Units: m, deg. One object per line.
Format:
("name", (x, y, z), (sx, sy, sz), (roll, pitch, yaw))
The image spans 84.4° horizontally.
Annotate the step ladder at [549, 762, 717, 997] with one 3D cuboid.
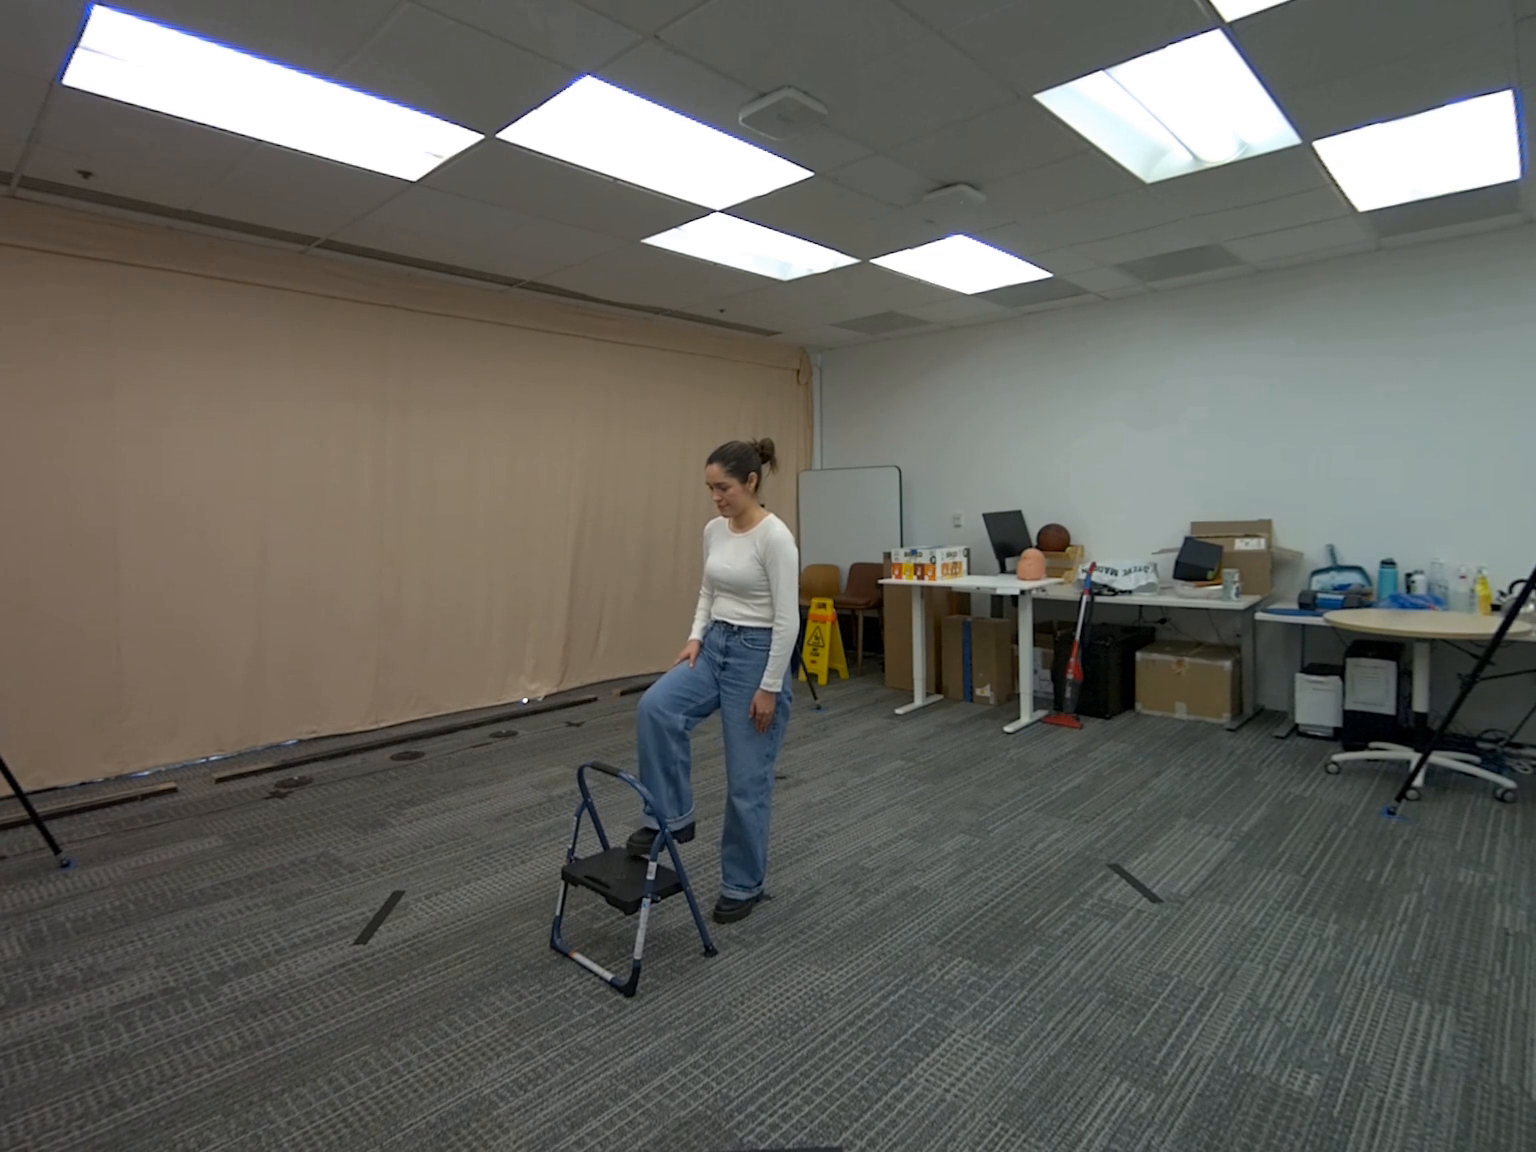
("step ladder", (-0.433, 0.877, 2.633), (0.445, 0.605, 0.339), (2, 4, 43))
